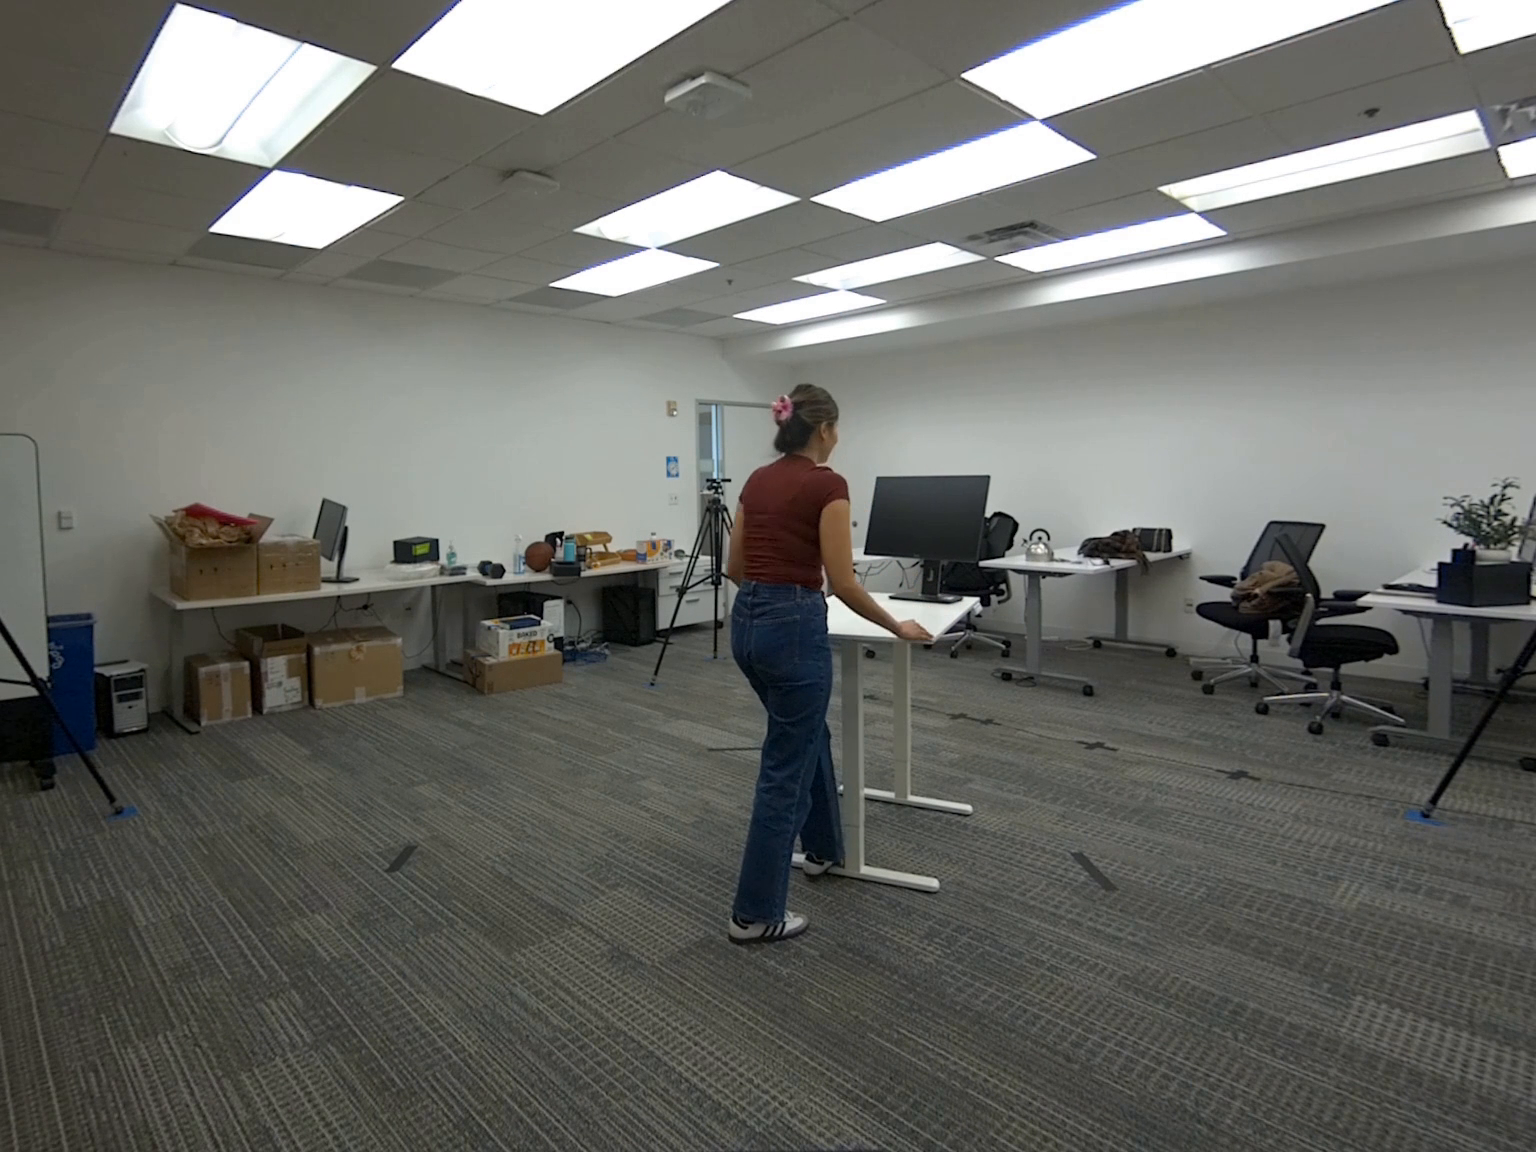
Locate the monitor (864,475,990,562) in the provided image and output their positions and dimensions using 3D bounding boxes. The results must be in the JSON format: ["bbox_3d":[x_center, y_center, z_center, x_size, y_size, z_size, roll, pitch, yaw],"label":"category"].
[{"bbox_3d":[0.672,-0.155,3.568,0.556,0.521,0.182,4,4,41],"label":"monitor"}]
